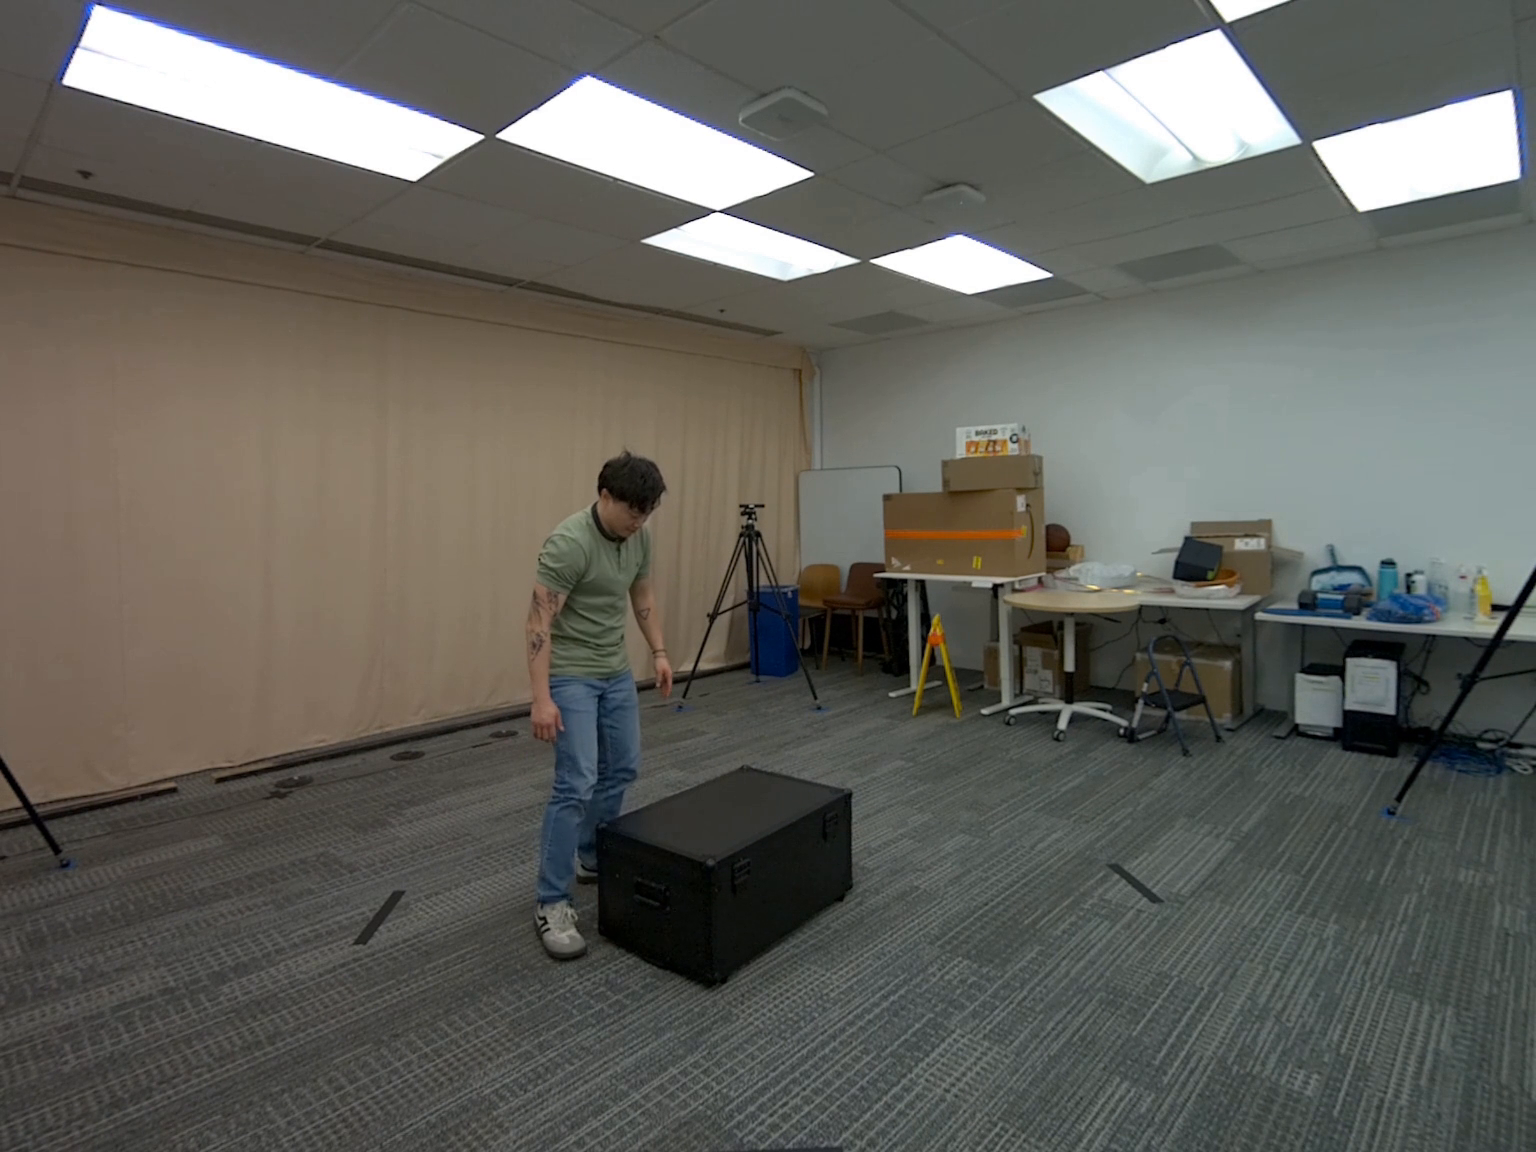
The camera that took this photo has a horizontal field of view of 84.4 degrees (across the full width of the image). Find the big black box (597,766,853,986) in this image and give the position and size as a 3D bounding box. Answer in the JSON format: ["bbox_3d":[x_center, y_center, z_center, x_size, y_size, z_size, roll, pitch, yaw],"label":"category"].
[{"bbox_3d":[-0.097,0.960,2.860,0.538,0.395,0.837,2,6,37],"label":"big black box"}]
